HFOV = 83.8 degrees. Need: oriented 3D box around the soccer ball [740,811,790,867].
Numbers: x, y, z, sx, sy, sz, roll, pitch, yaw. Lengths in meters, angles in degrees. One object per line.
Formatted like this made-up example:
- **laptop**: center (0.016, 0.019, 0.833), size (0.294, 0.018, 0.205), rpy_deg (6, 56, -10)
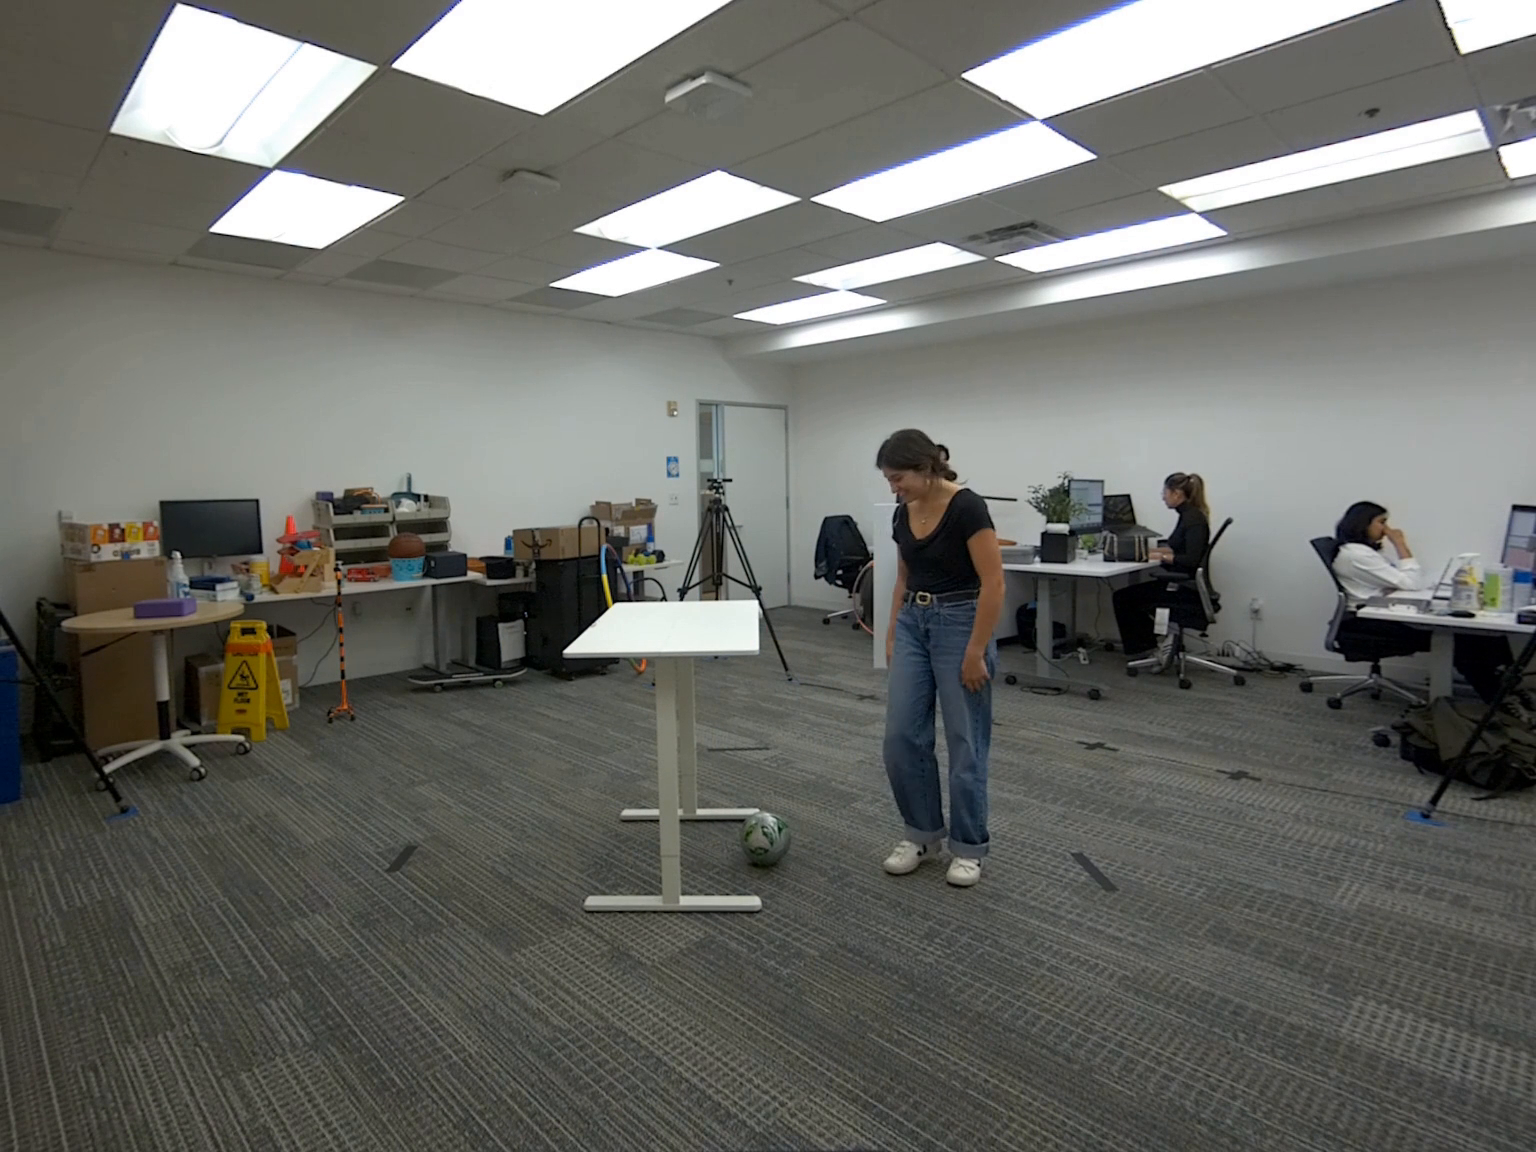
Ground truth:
- **soccer ball**: center (-0.007, 0.956, 3.115), size (0.187, 0.187, 0.188), rpy_deg (-1, 5, -2)
